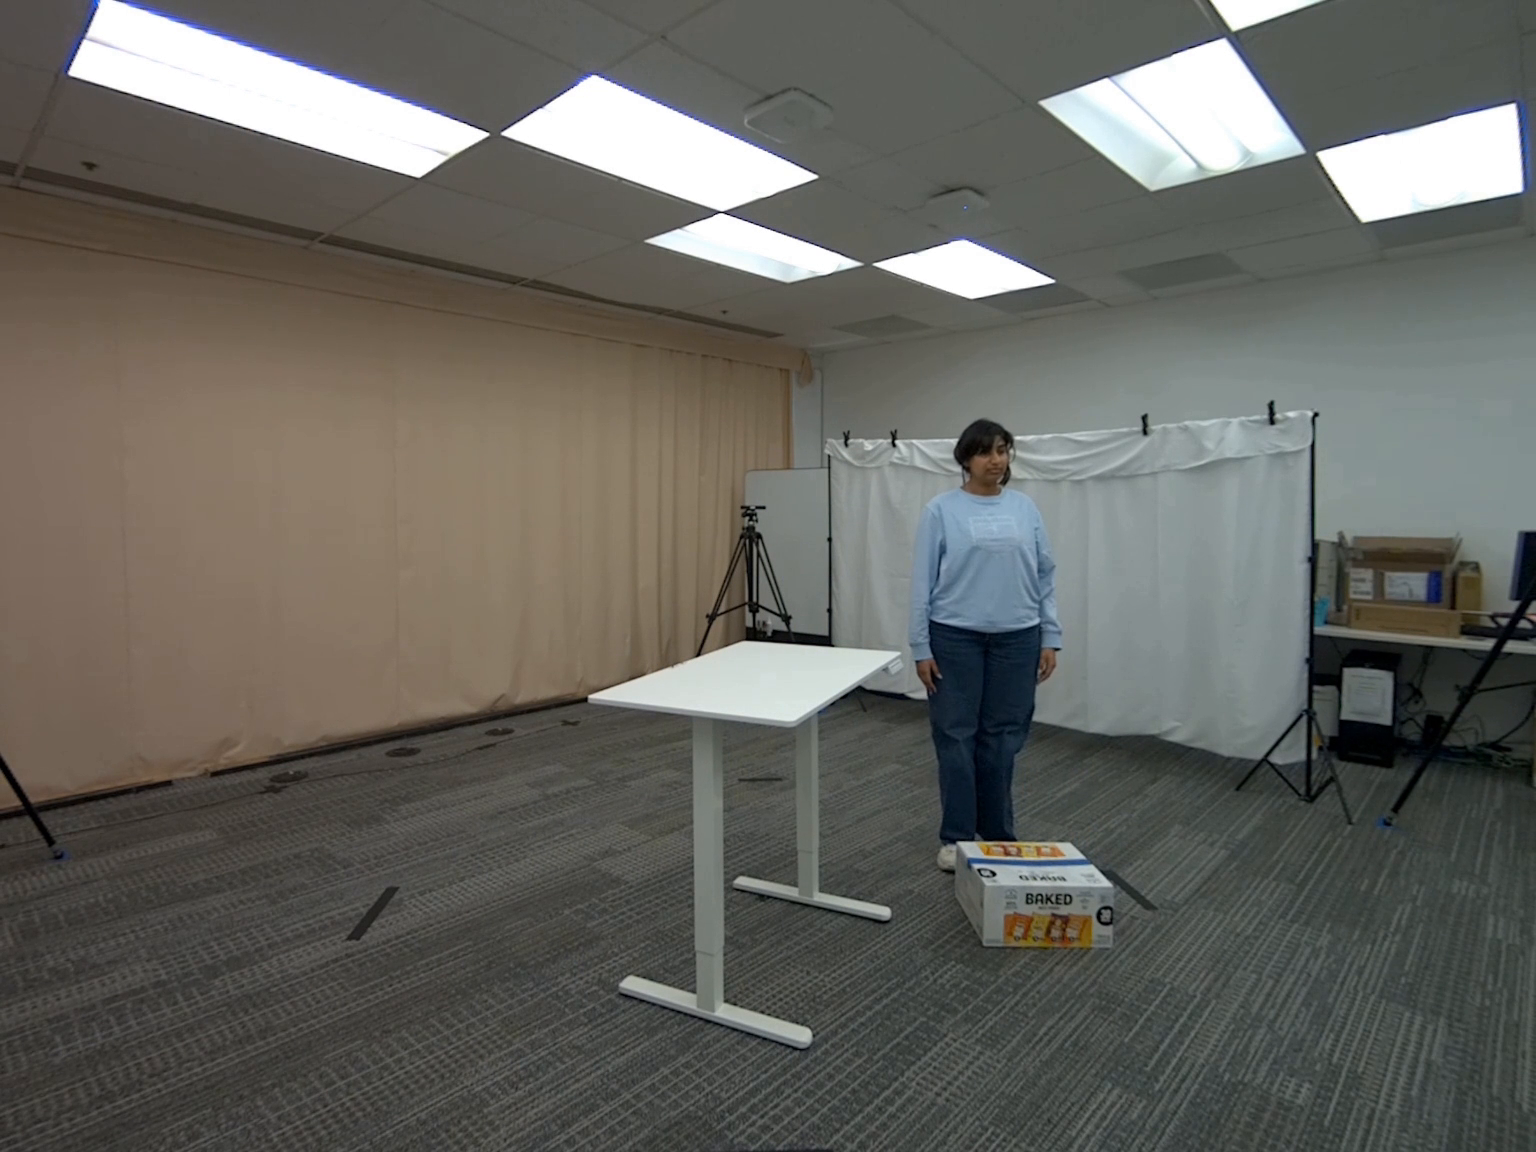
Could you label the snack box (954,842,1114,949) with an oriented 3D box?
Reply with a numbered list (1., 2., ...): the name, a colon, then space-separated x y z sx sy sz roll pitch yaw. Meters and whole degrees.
1. snack box: 0.868 1.049 2.806 0.405 0.205 0.341 0 4 -1
